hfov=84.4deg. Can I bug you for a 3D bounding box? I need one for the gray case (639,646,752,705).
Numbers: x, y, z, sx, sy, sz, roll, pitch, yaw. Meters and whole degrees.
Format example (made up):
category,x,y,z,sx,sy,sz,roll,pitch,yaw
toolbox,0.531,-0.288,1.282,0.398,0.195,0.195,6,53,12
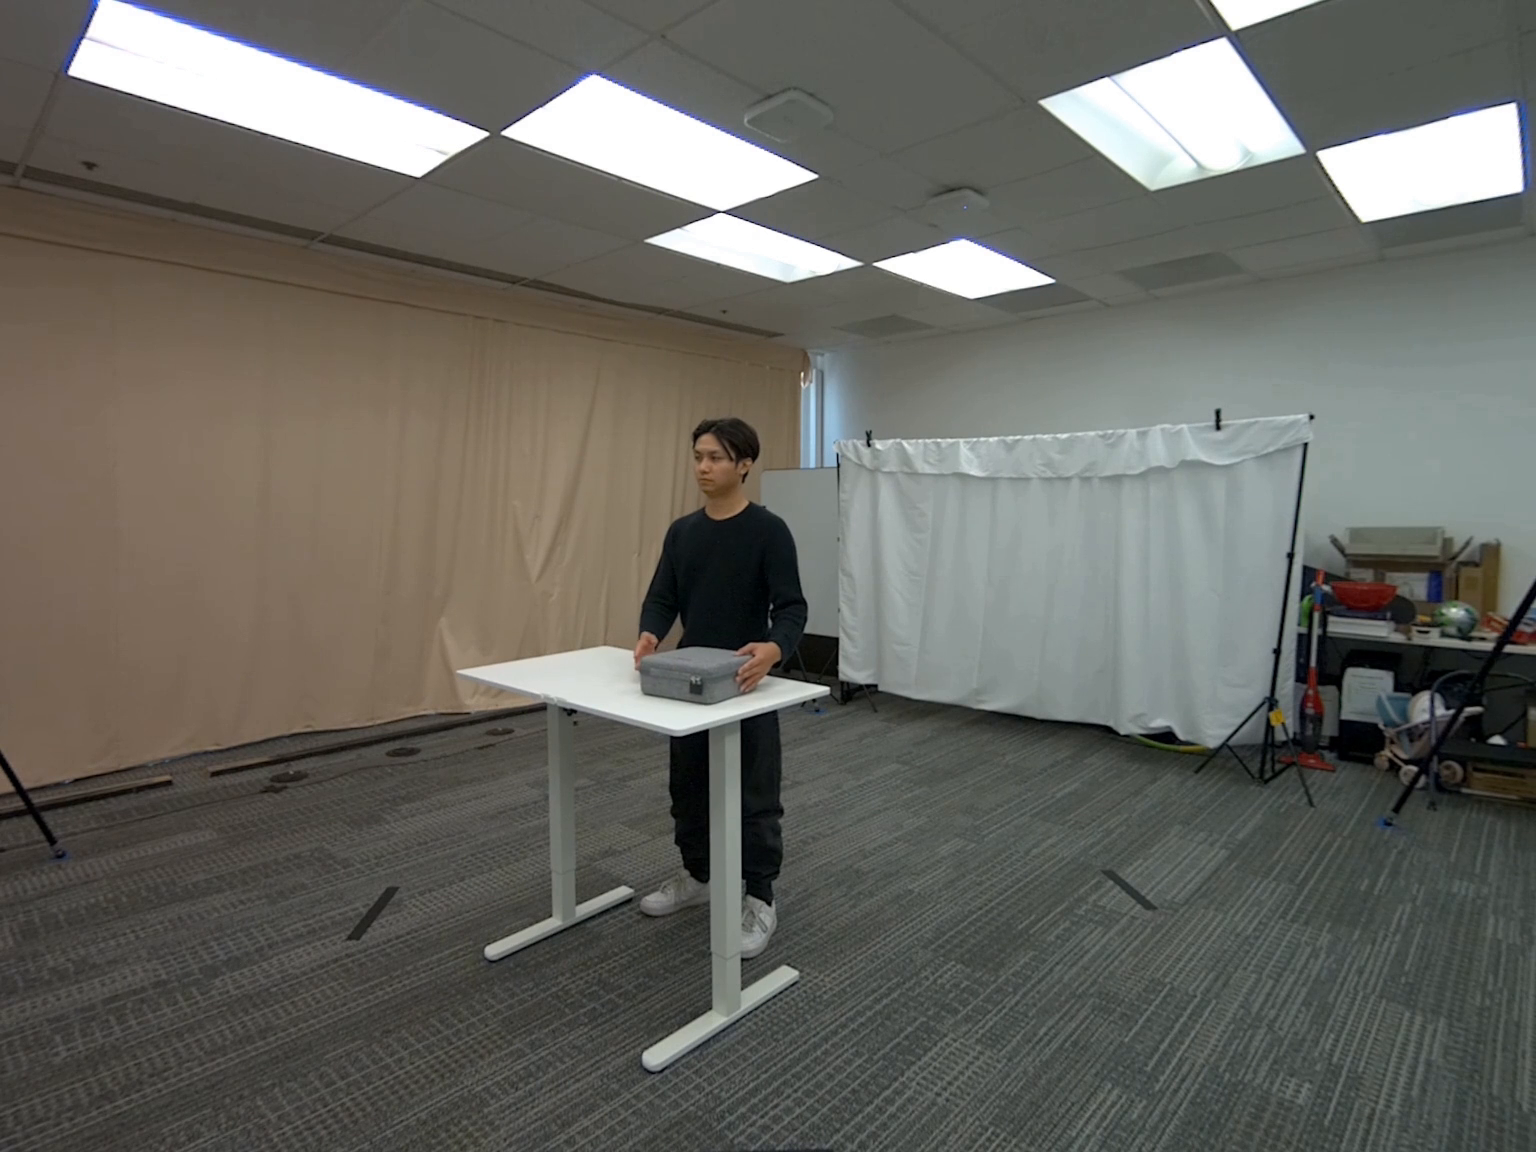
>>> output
category,x,y,z,sx,sy,sz,roll,pitch,yaw
gray case,-0.198,0.267,2.324,0.265,0.104,0.253,2,5,35
